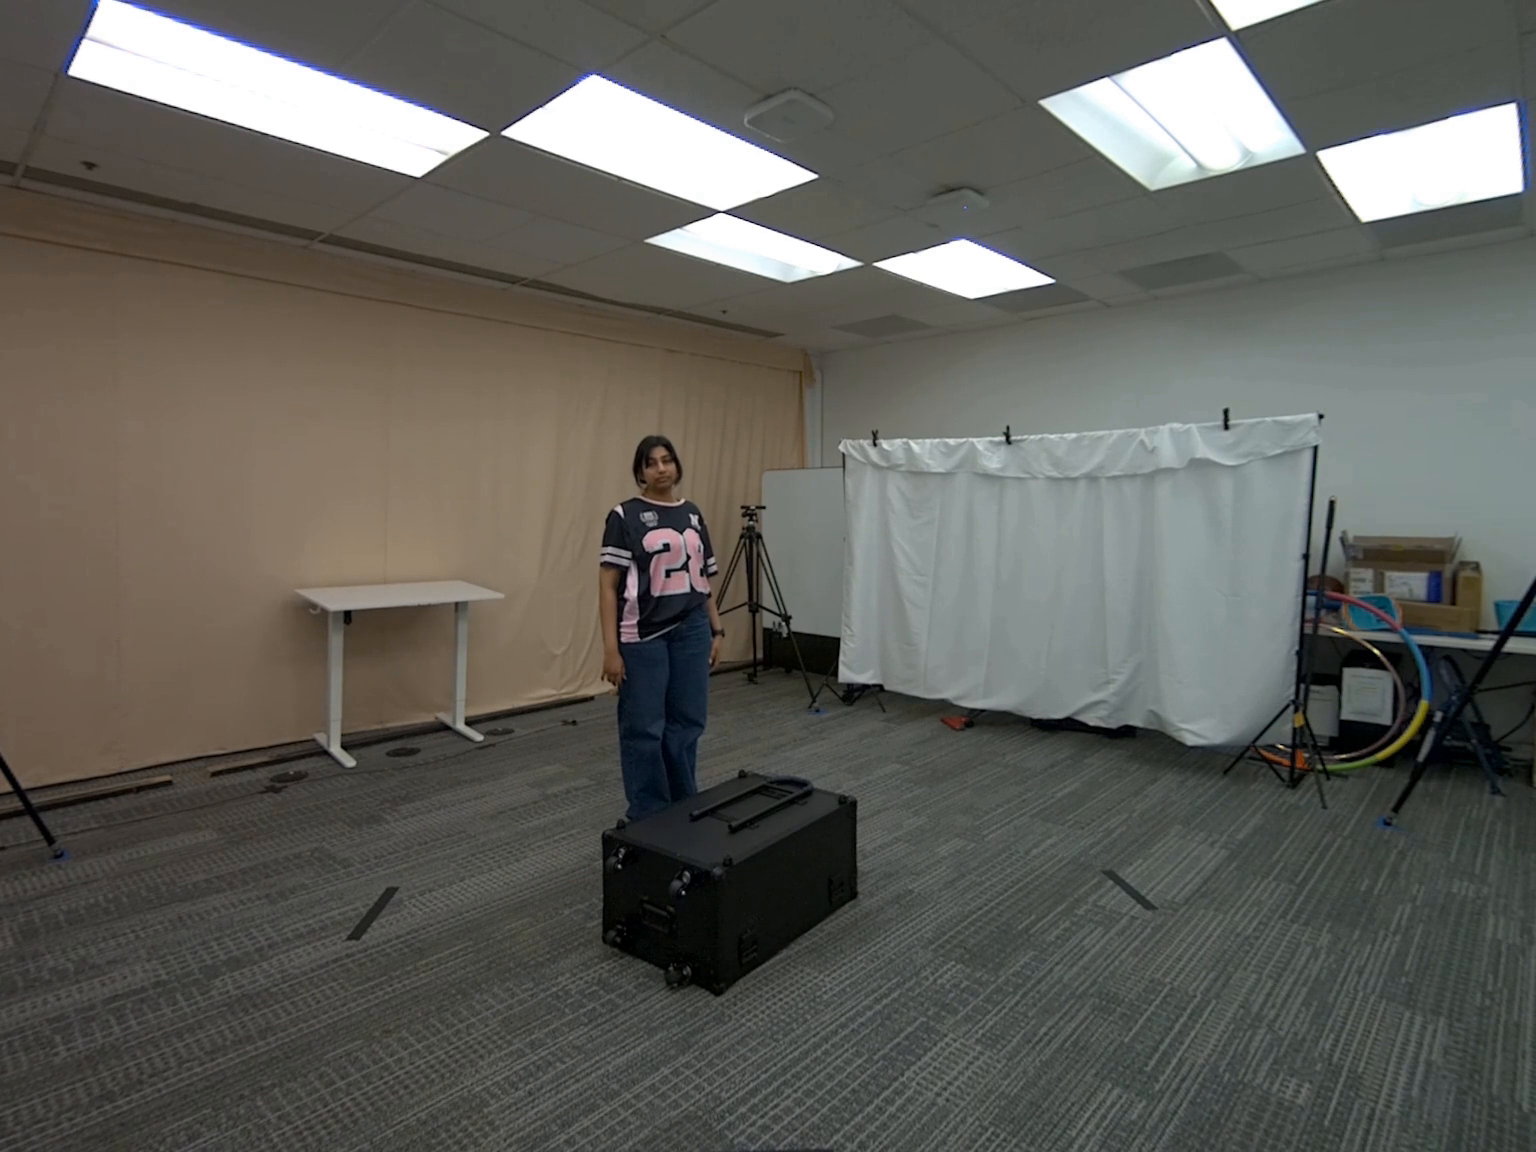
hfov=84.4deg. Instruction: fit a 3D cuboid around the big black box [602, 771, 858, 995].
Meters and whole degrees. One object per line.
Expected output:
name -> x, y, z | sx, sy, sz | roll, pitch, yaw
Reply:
big black box -> -0.118, 0.975, 2.797 | 0.540, 0.384, 0.843 | 5, 7, 37
